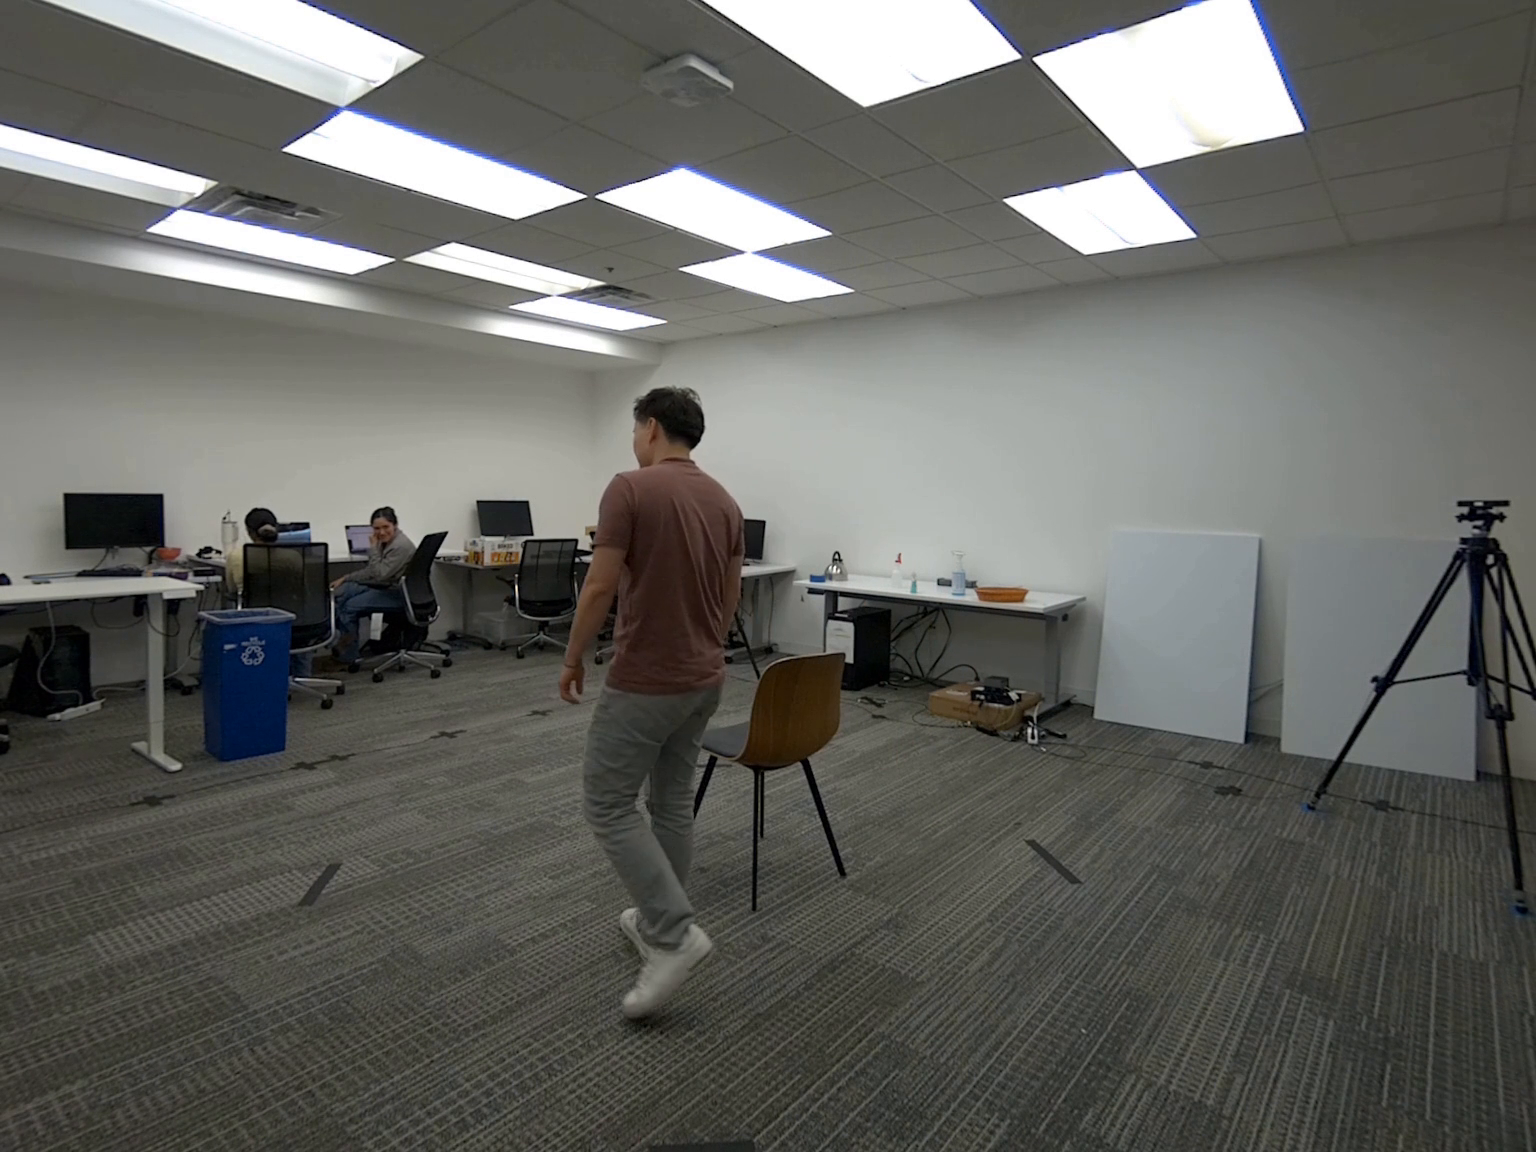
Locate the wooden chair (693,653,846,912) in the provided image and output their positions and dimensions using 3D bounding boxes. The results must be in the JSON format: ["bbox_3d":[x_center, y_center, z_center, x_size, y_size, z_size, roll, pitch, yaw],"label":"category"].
[{"bbox_3d":[-0.034,0.652,3.100,0.463,0.872,0.542,-1,9,-41],"label":"wooden chair"}]
